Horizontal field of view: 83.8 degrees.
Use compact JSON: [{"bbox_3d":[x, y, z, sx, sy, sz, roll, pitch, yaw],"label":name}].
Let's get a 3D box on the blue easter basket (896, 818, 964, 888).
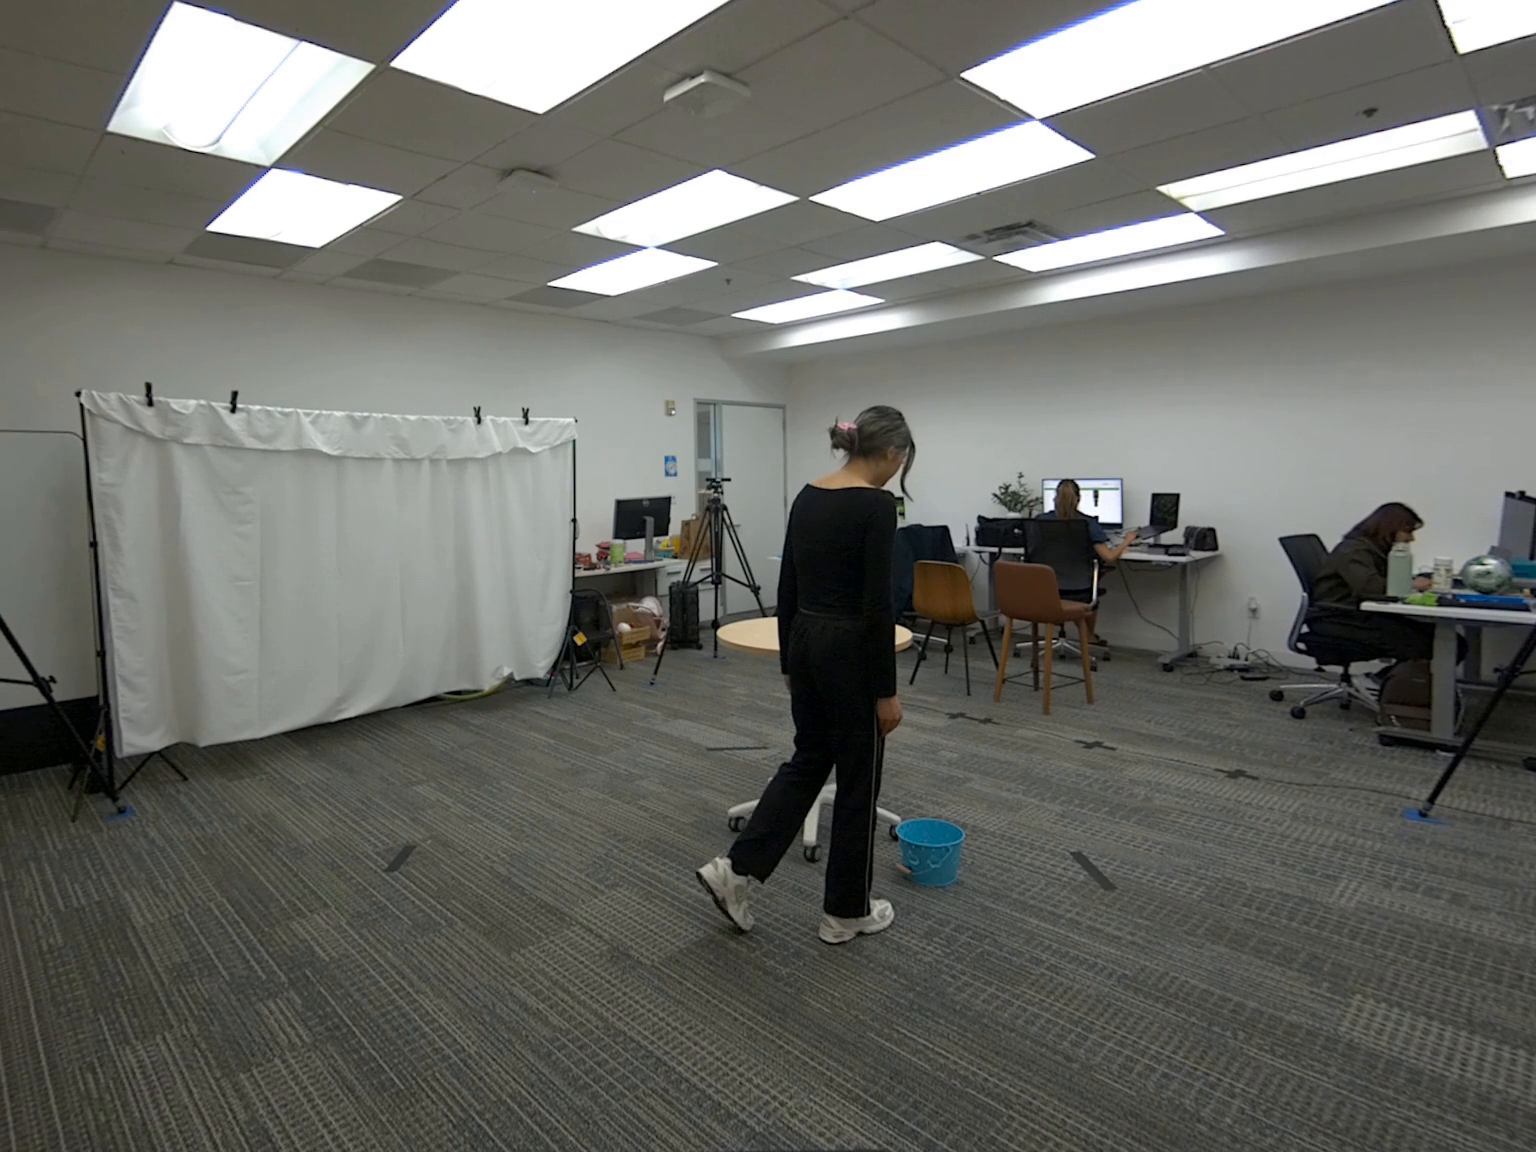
[{"bbox_3d":[0.566,0.967,2.990,0.243,0.155,0.245,-1,5,-2],"label":"blue easter basket"}]
